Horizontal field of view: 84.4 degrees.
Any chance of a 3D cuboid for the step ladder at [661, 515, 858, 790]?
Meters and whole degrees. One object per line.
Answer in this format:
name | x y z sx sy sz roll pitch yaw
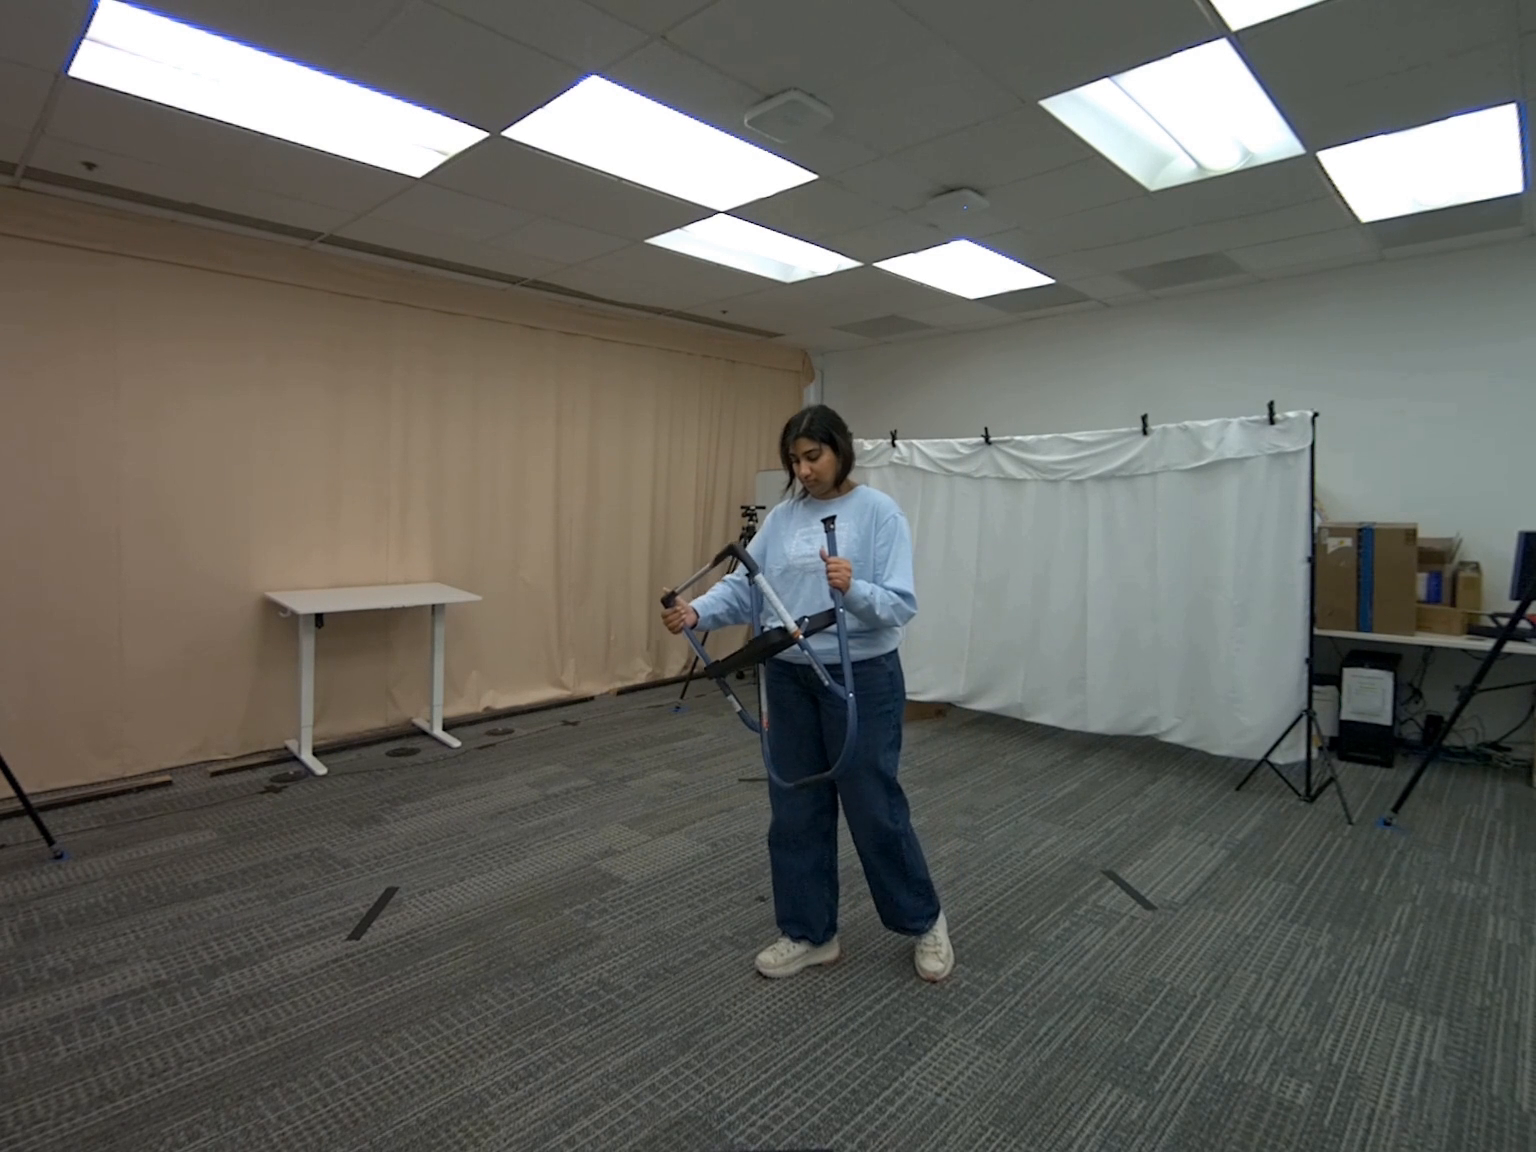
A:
step ladder | 0.050 0.233 2.197 0.340 0.614 0.436 -13 -16 -36
